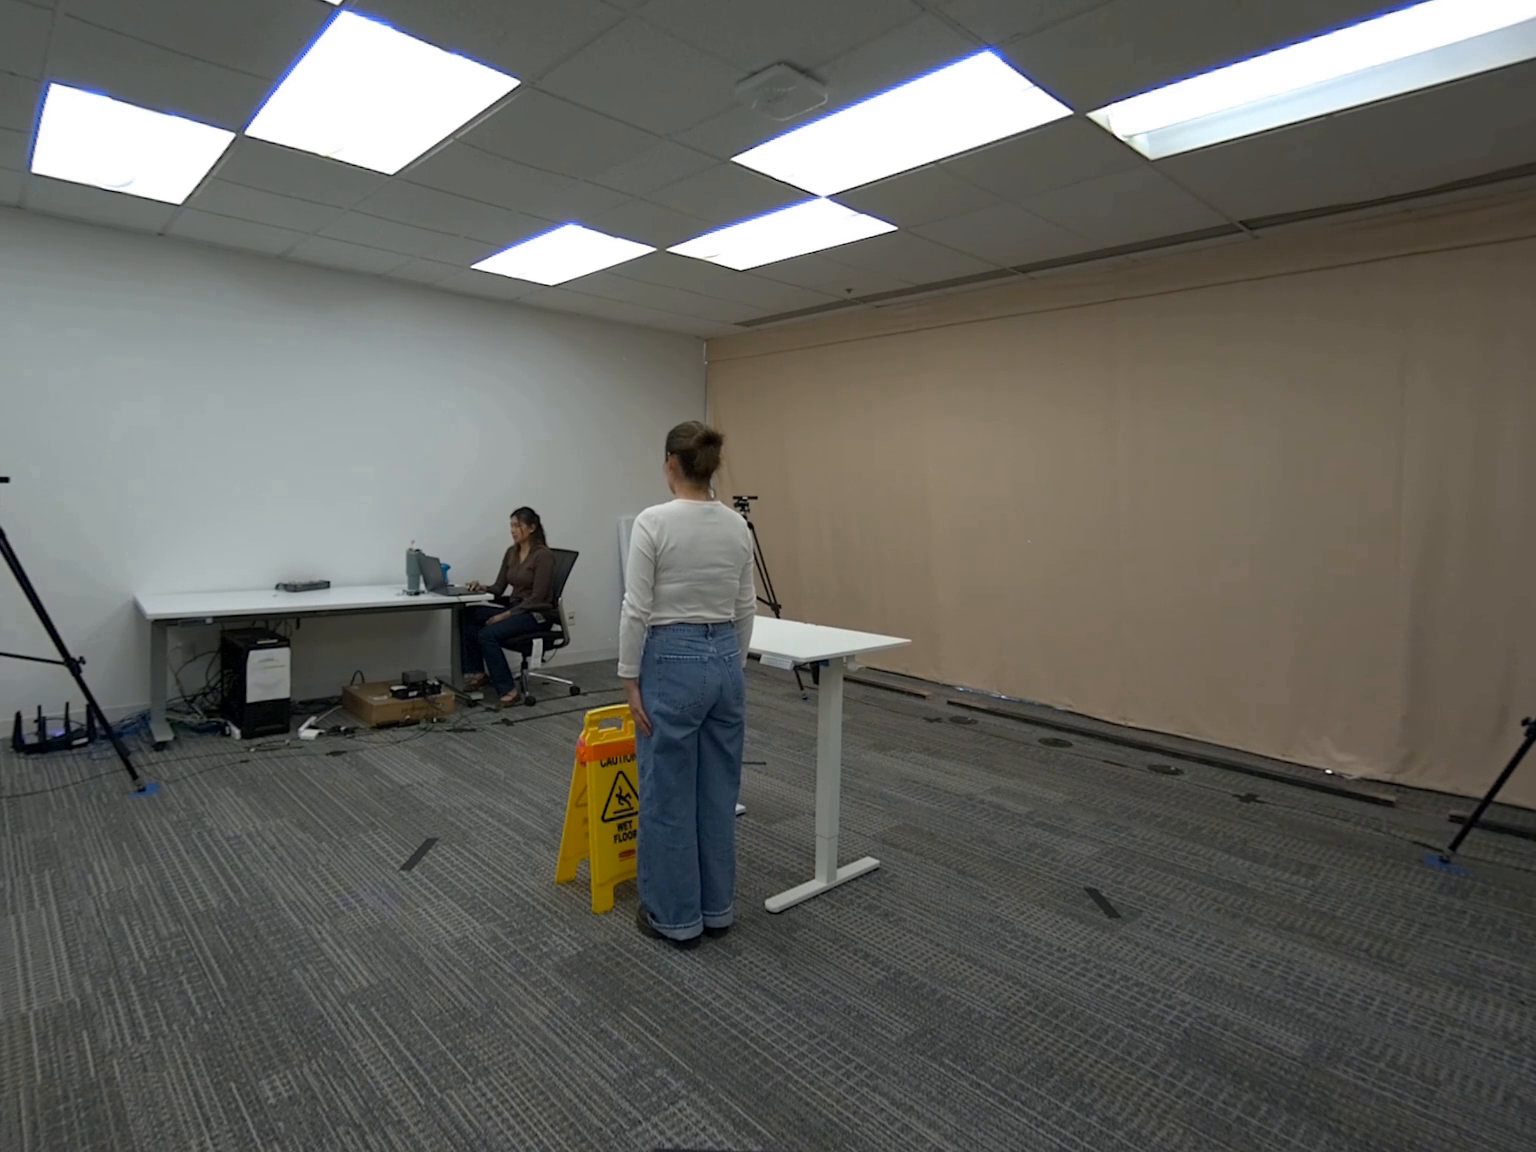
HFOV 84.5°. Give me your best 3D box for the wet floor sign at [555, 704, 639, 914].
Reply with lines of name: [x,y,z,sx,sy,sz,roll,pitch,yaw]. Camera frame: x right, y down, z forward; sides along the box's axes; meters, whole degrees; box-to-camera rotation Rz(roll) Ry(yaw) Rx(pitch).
wet floor sign: [-0.559,0.782,2.958,0.276,0.644,0.297,-1,5,-41]
